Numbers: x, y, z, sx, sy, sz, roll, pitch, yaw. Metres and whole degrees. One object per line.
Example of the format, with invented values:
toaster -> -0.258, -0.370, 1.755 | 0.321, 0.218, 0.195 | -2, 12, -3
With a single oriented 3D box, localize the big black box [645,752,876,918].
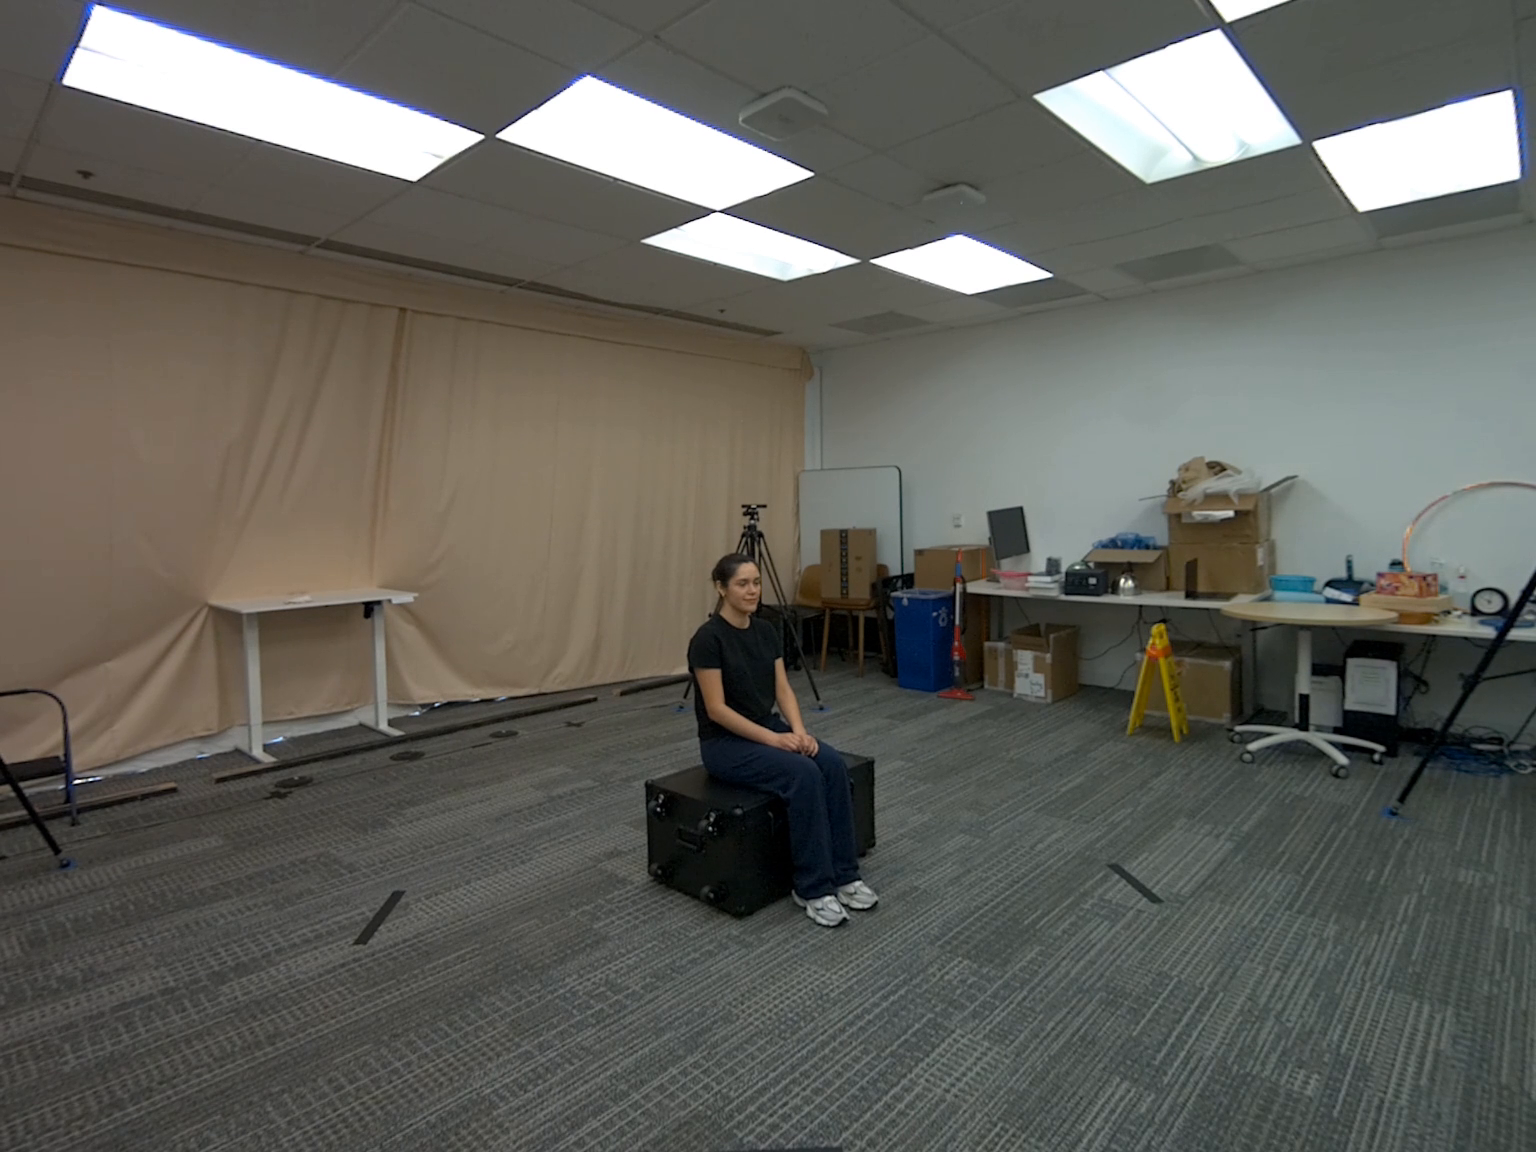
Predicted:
big black box -> -0.023, 0.932, 3.217 | 0.538, 0.395, 0.835 | 2, 5, 43
